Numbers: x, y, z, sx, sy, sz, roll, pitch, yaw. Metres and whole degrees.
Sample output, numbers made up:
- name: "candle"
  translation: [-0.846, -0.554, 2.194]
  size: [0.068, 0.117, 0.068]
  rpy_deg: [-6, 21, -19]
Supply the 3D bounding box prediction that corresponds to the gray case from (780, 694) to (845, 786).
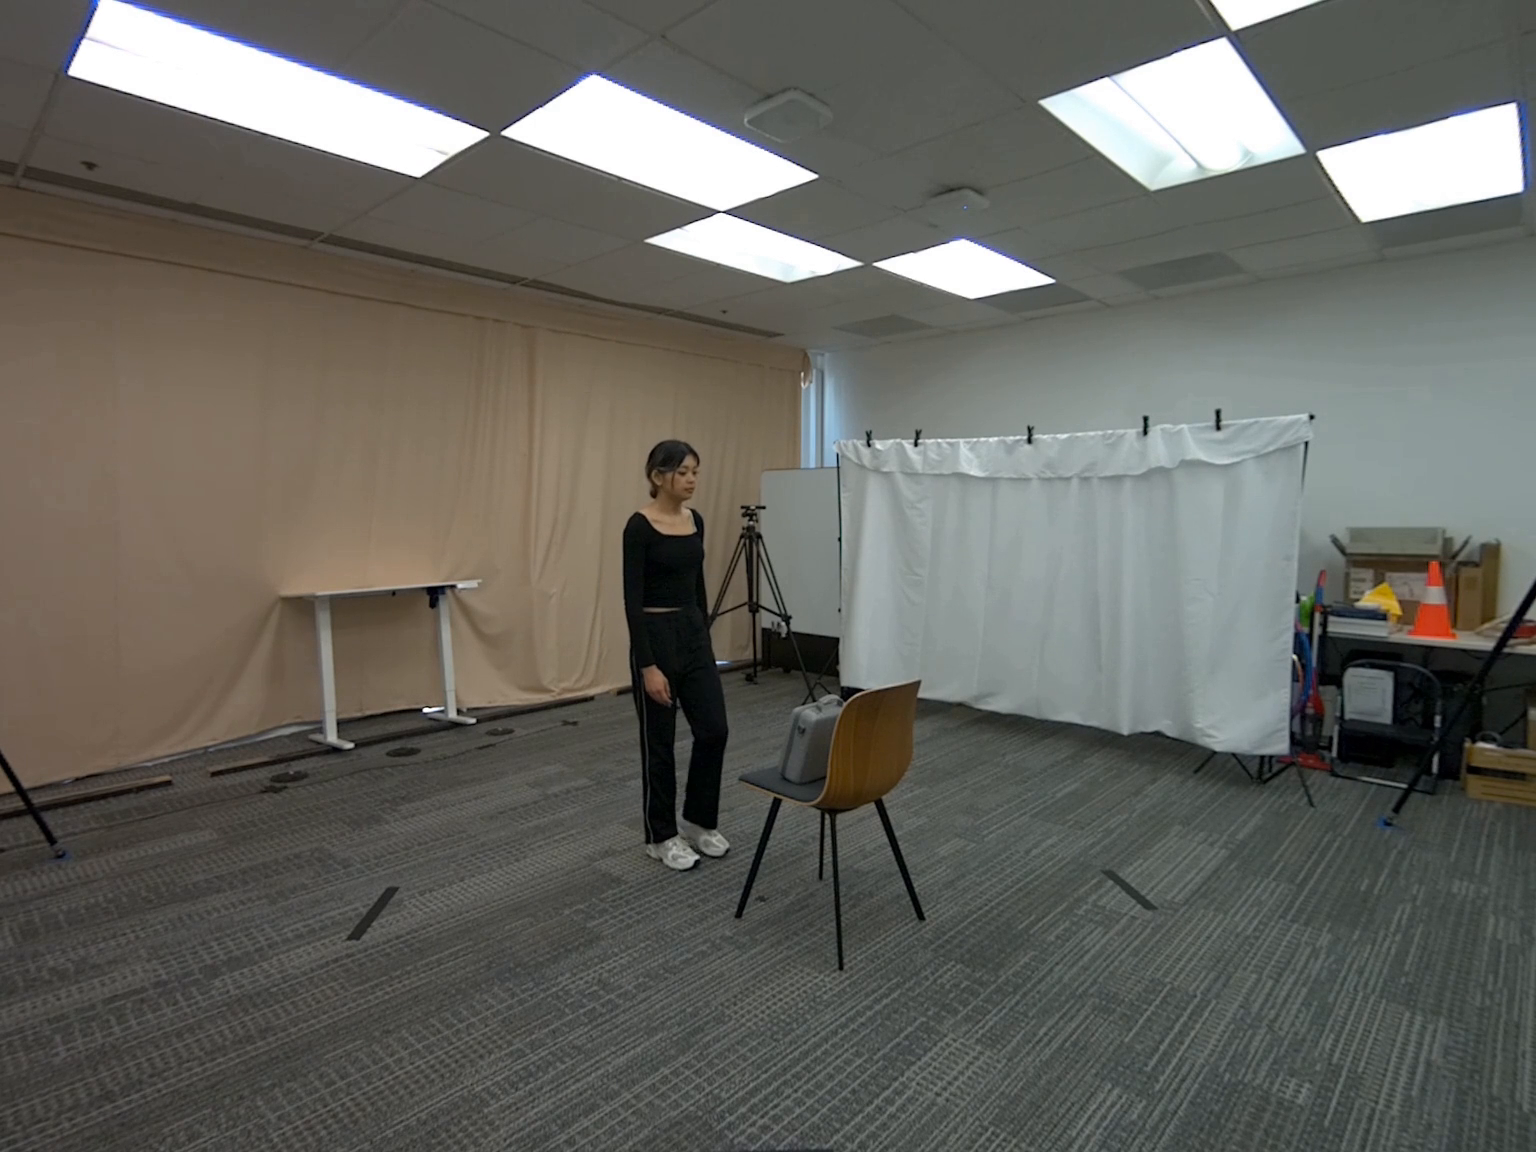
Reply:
- name: "gray case"
  translation: [0.177, 0.545, 2.813]
  size: [0.108, 0.259, 0.249]
  rpy_deg: [22, 17, 39]
